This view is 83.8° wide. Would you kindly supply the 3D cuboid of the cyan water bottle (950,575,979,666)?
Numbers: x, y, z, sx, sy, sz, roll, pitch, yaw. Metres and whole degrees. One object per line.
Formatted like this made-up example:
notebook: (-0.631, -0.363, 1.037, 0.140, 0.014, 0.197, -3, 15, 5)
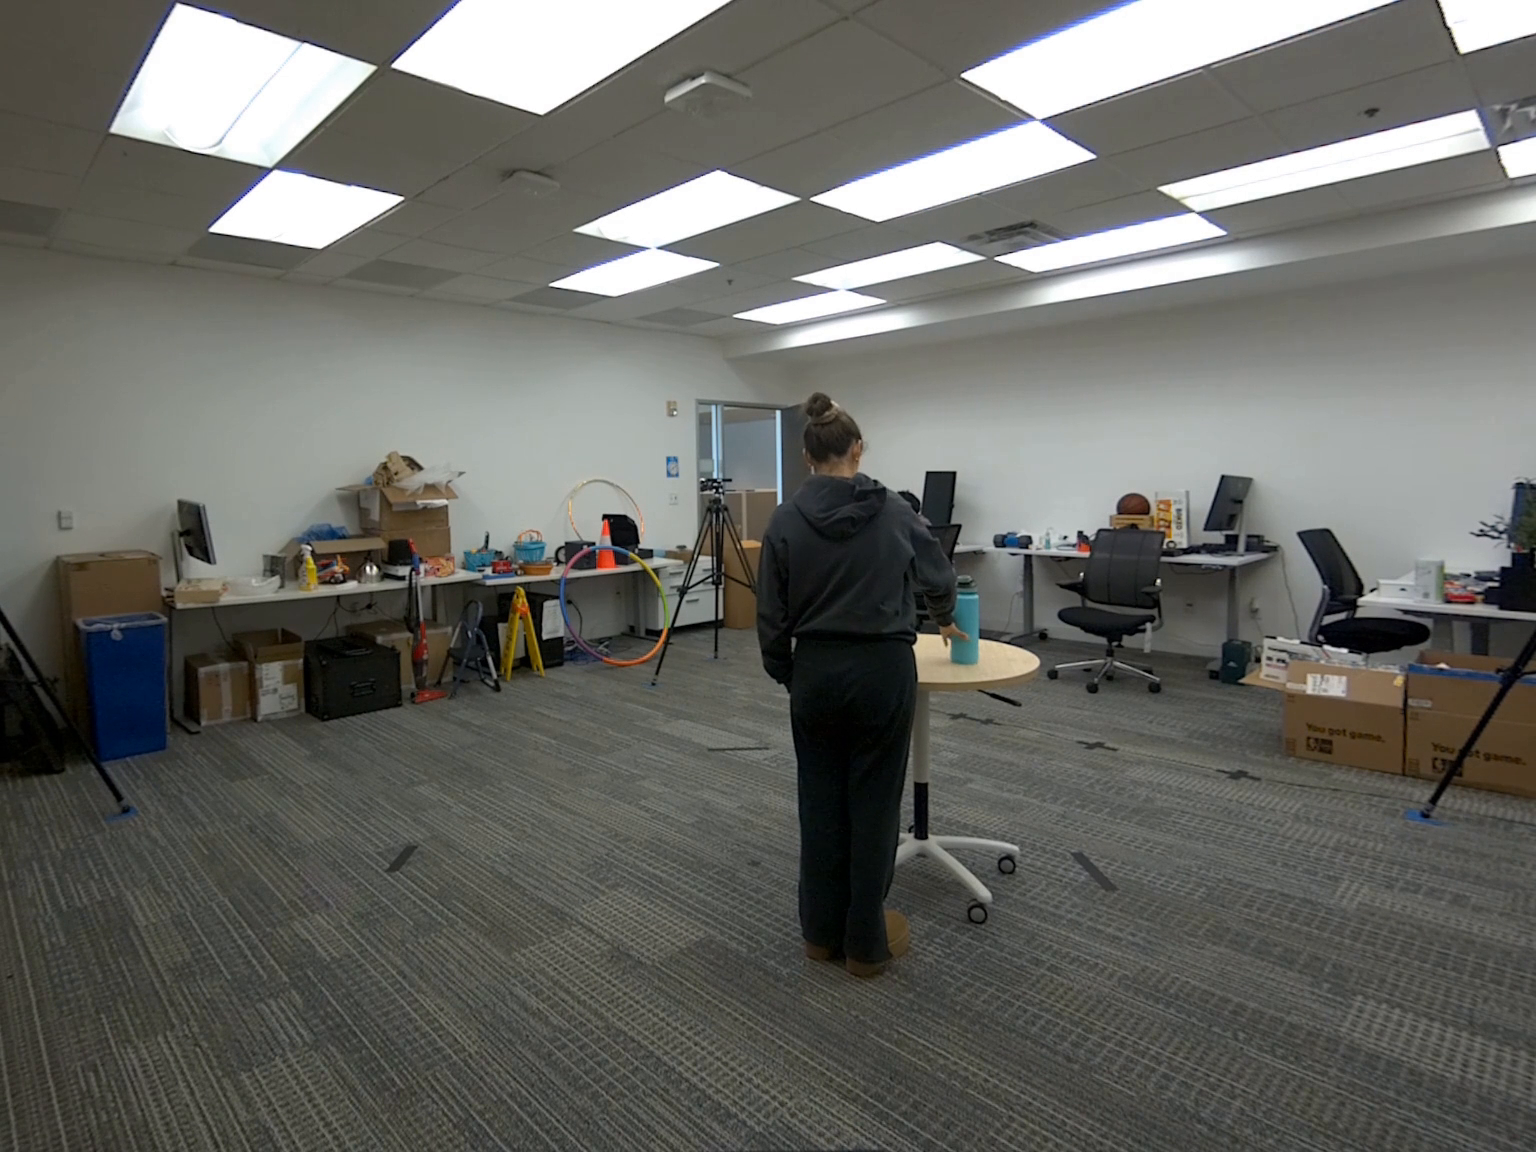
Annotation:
cyan water bottle: (0.652, 0.143, 2.807, 0.092, 0.283, 0.092, -1, 3, -2)
